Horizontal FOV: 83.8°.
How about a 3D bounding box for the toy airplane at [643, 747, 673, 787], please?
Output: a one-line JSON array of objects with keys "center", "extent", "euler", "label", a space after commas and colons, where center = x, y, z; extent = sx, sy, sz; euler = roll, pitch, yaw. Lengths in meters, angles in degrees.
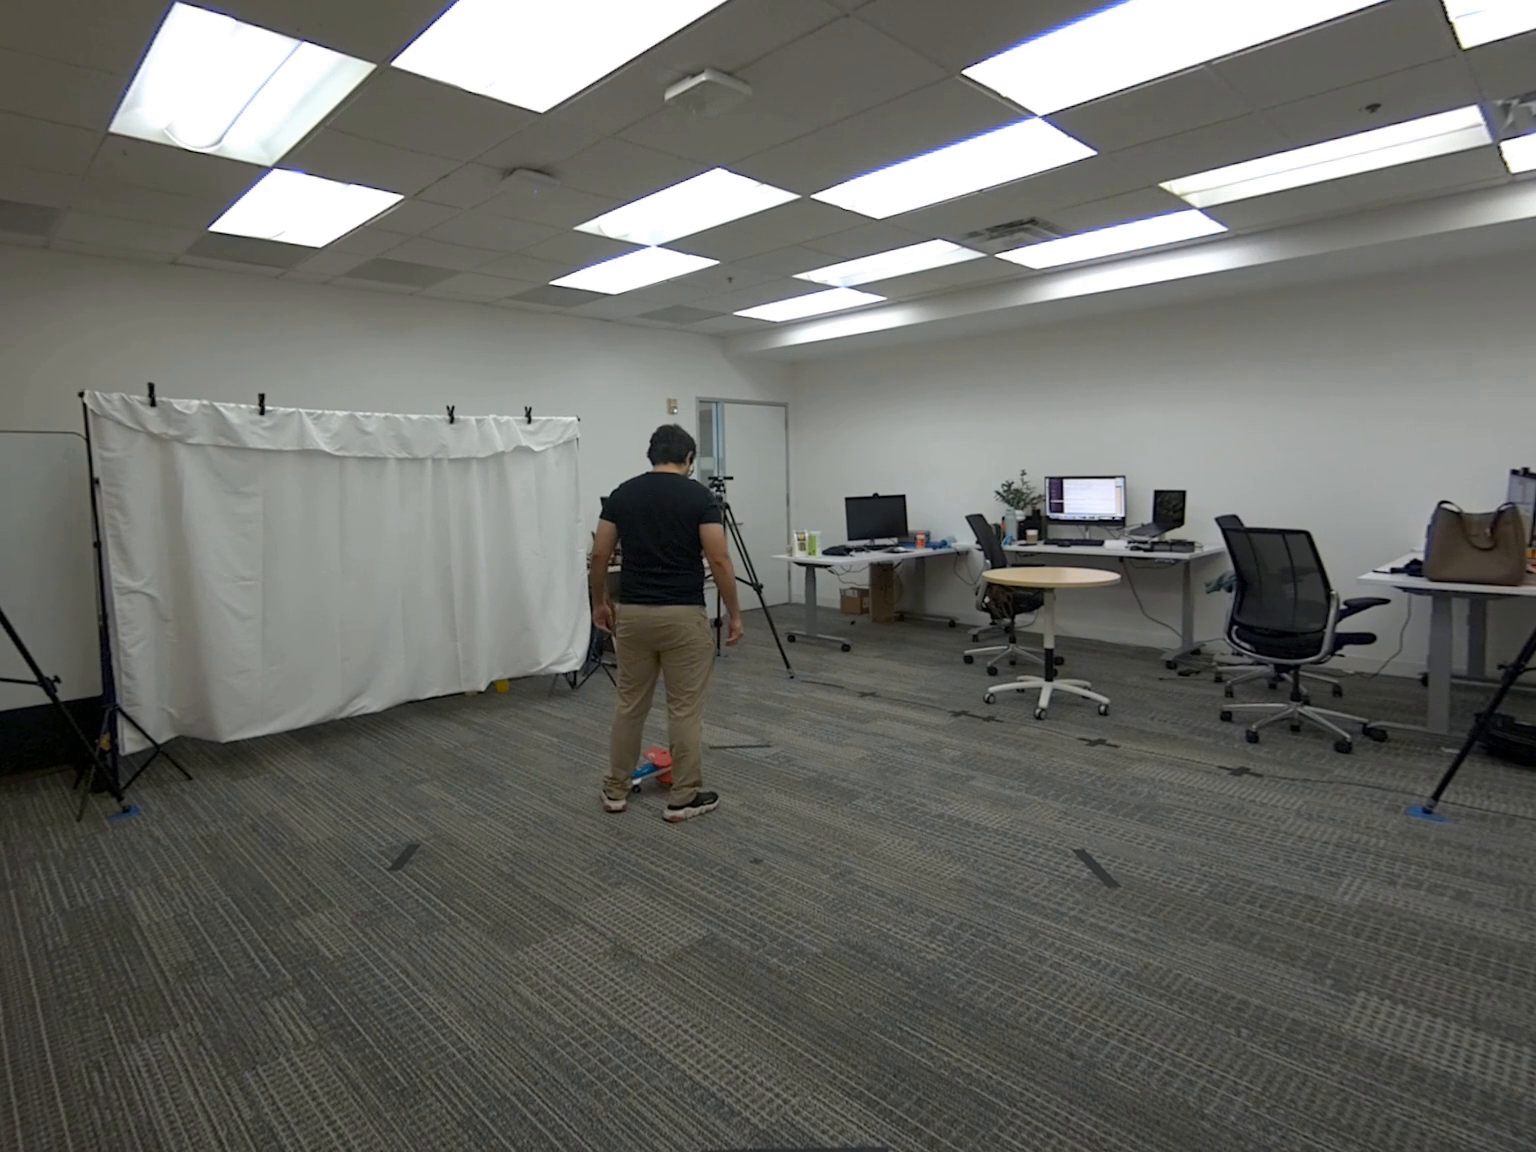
[{"center": [-0.506, 0.887, 3.864], "extent": [0.258, 0.156, 0.253], "euler": [1, 5, 32], "label": "toy airplane"}]
